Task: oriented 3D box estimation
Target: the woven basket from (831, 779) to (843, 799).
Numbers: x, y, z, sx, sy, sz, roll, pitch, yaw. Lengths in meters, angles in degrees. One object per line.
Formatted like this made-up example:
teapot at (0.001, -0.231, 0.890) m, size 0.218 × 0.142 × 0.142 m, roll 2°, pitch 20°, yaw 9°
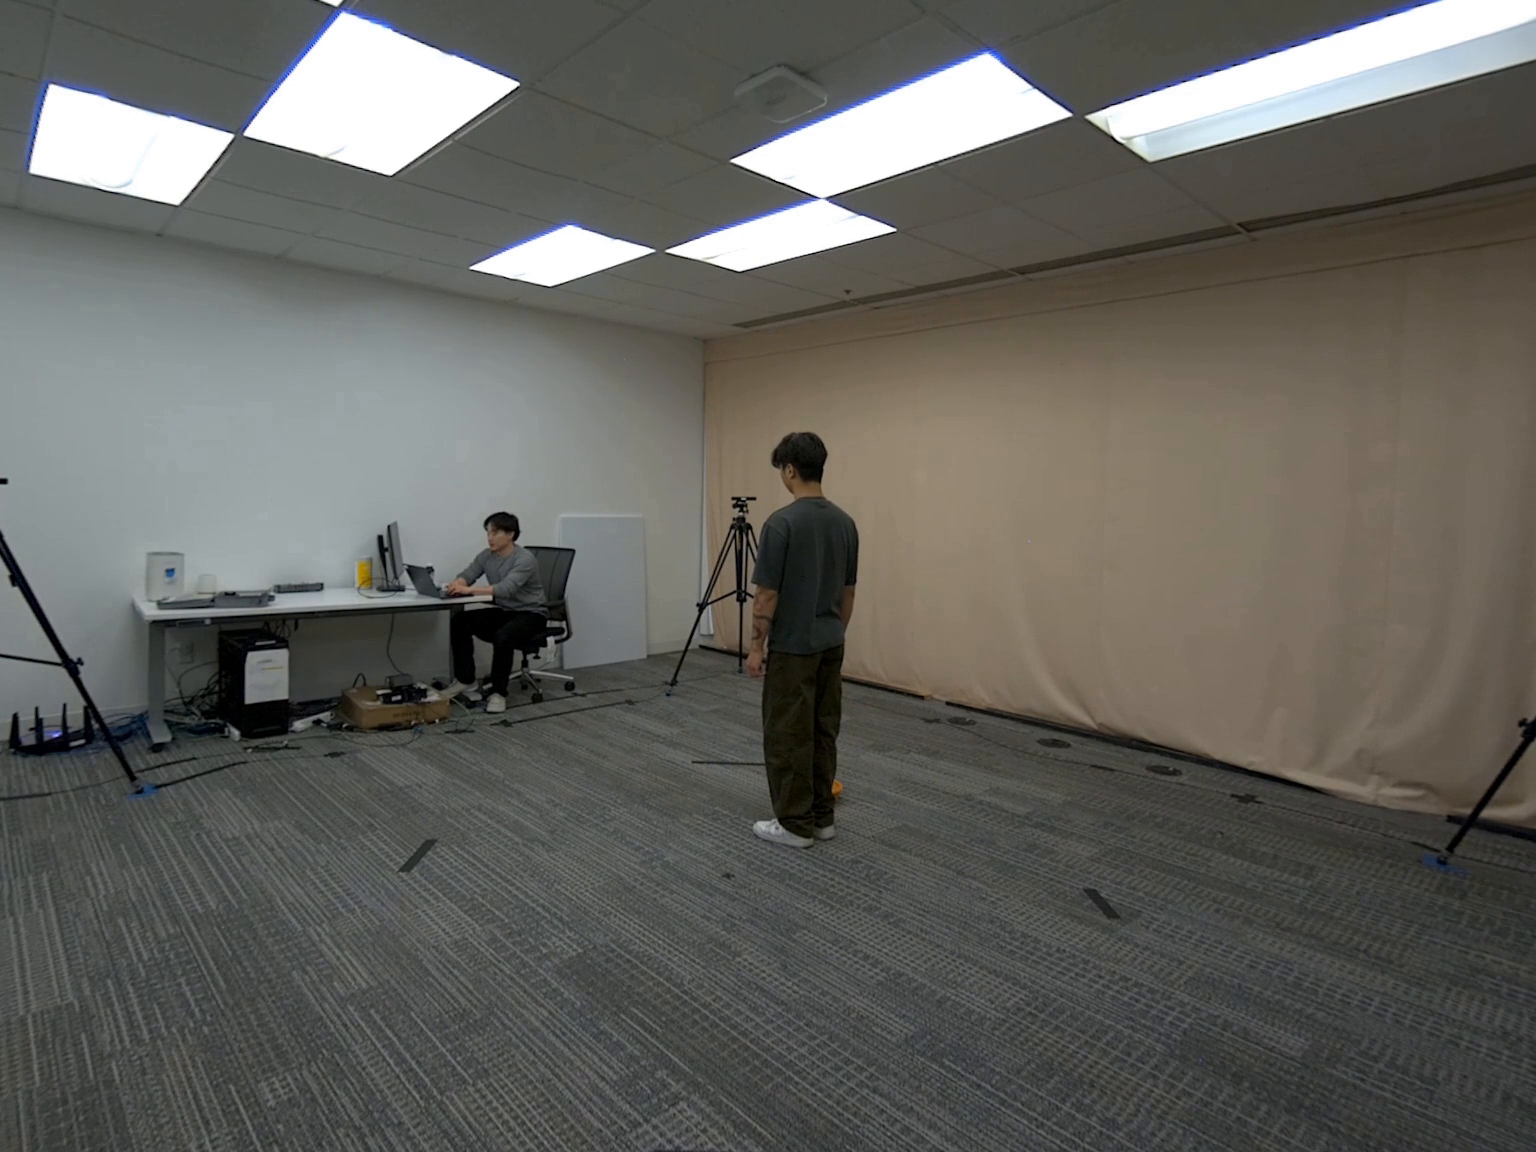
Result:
woven basket at (0.178, 1.008, 3.971) m, size 0.359 × 0.073 × 0.247 m, roll 5°, pitch 6°, yaw 36°
